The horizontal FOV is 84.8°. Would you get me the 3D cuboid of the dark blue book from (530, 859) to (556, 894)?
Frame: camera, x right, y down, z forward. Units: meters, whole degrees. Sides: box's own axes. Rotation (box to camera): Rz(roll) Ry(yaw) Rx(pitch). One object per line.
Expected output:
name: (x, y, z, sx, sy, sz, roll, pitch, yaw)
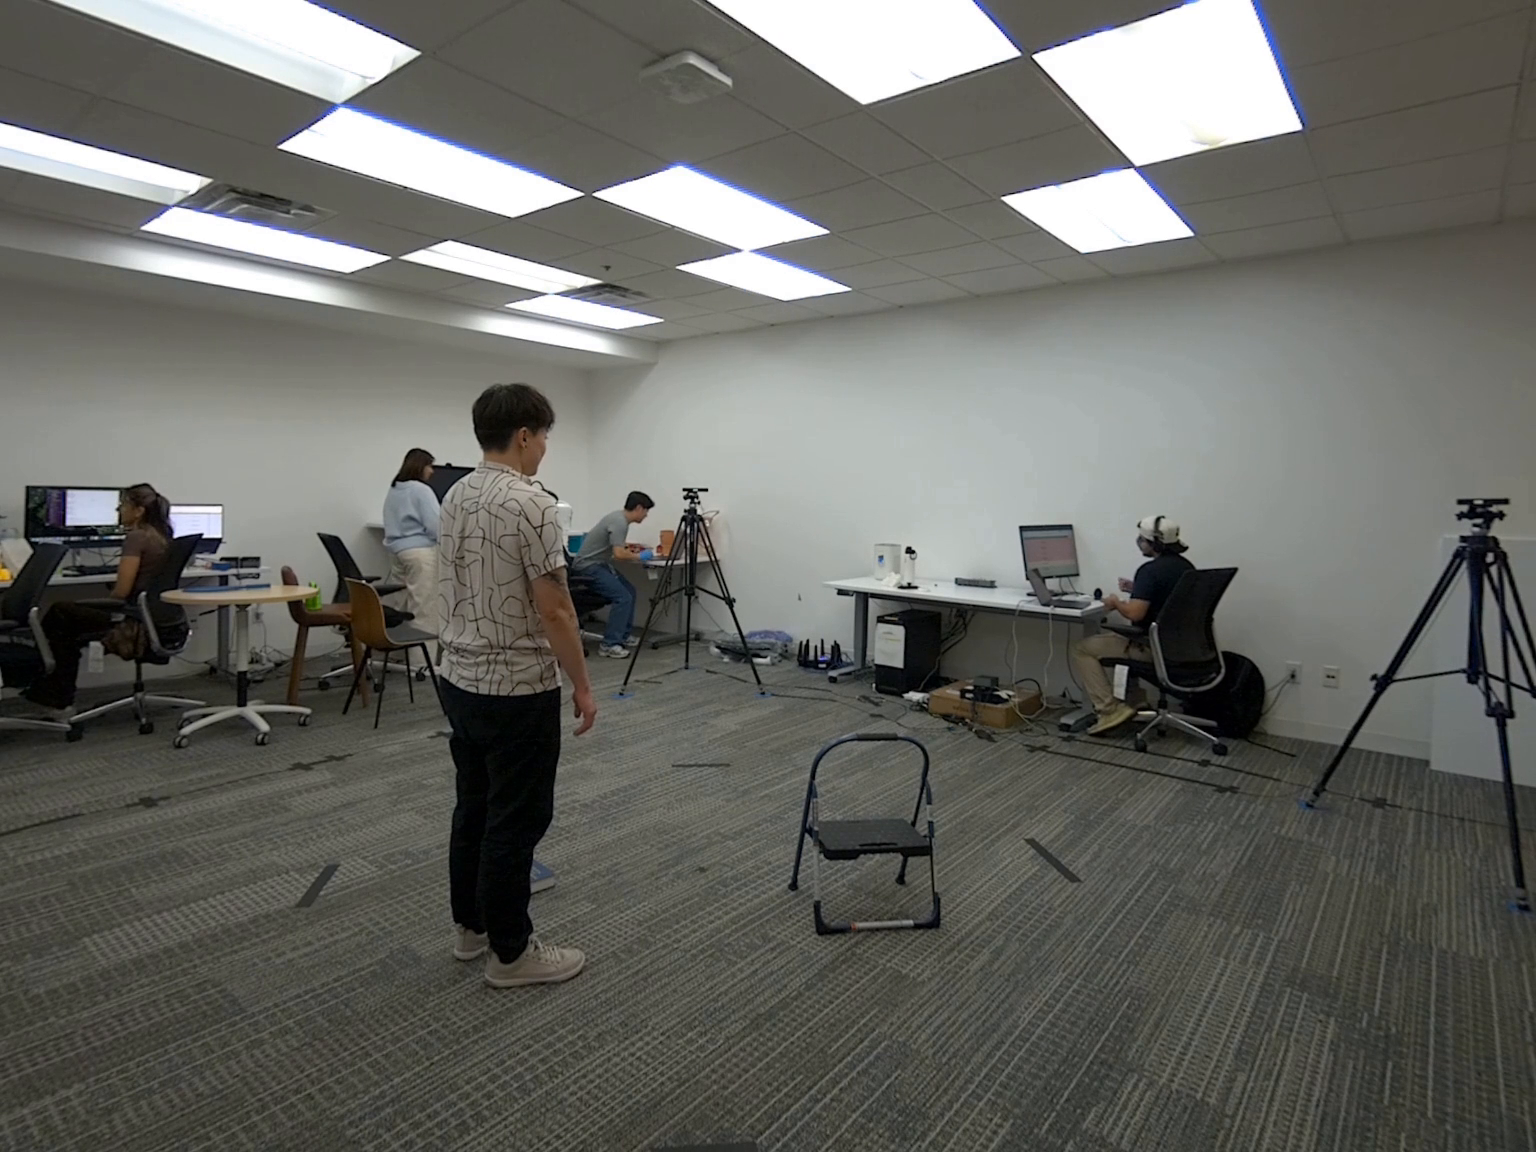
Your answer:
dark blue book: (-0.887, 1.052, 2.927, 0.238, 0.045, 0.169, -4, 7, -42)
